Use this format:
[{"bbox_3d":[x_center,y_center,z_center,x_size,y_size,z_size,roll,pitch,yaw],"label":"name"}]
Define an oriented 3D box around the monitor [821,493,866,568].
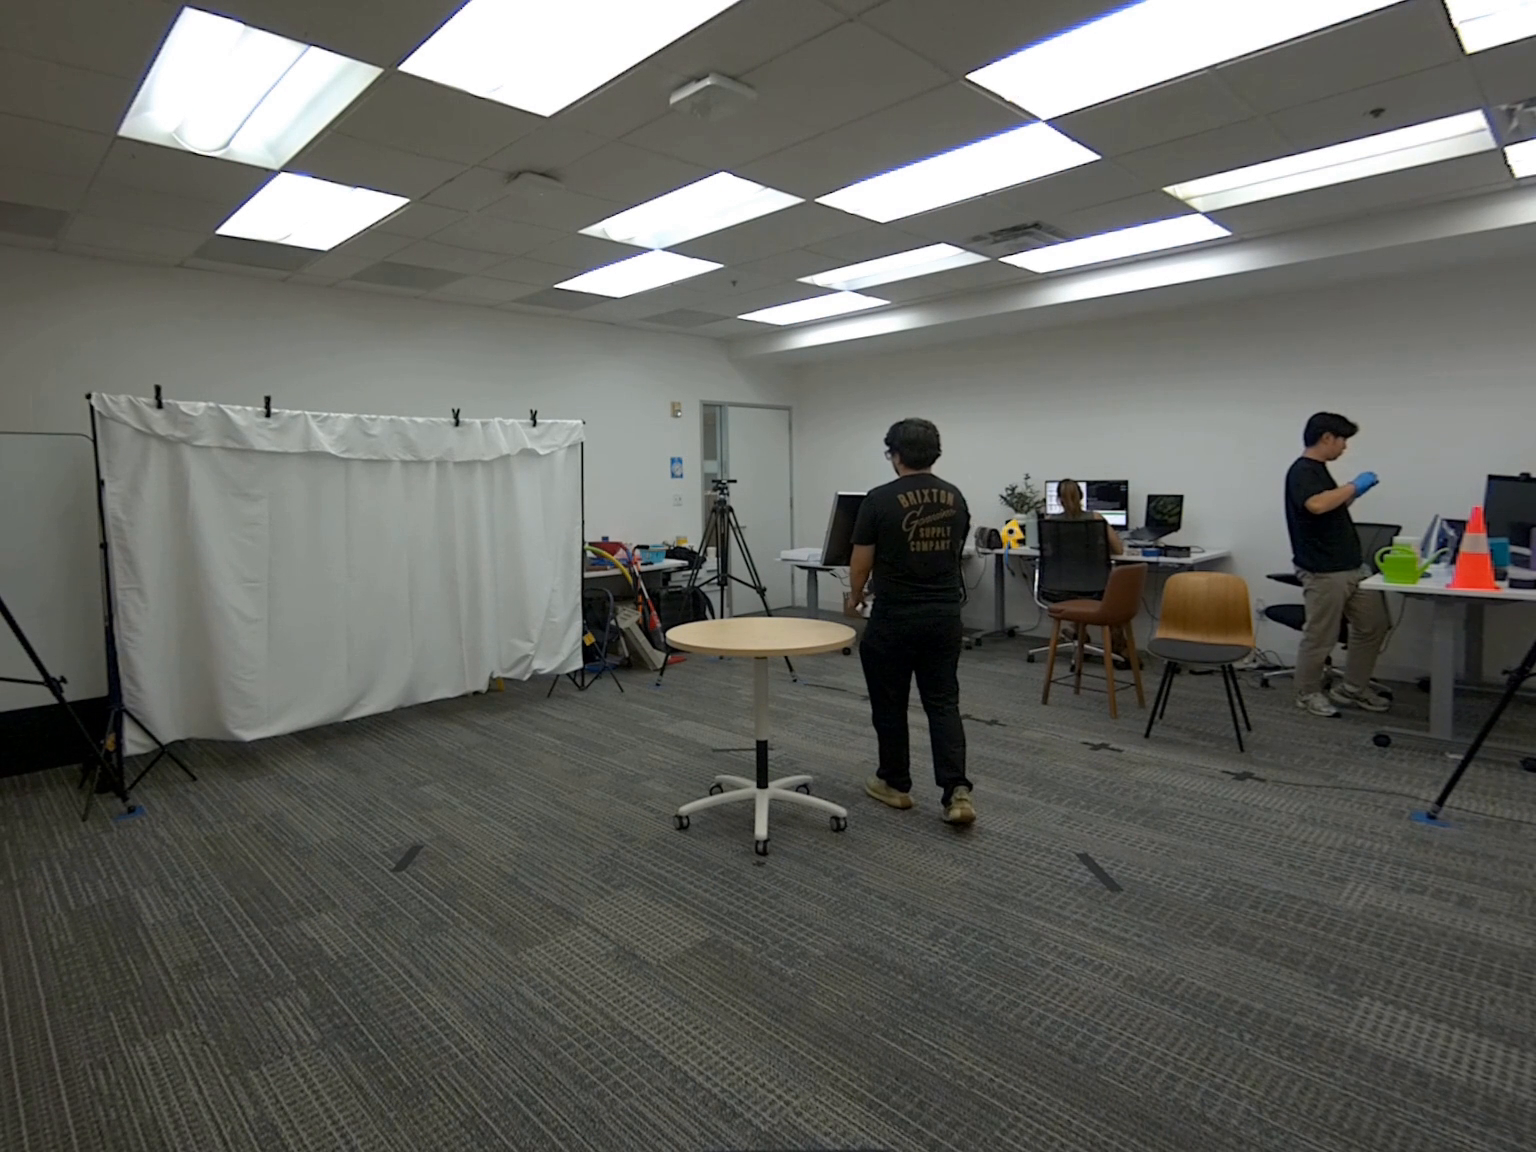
[{"bbox_3d":[0.533,-0.087,3.723,0.558,0.544,0.216,0,24,-14],"label":"monitor"}]
